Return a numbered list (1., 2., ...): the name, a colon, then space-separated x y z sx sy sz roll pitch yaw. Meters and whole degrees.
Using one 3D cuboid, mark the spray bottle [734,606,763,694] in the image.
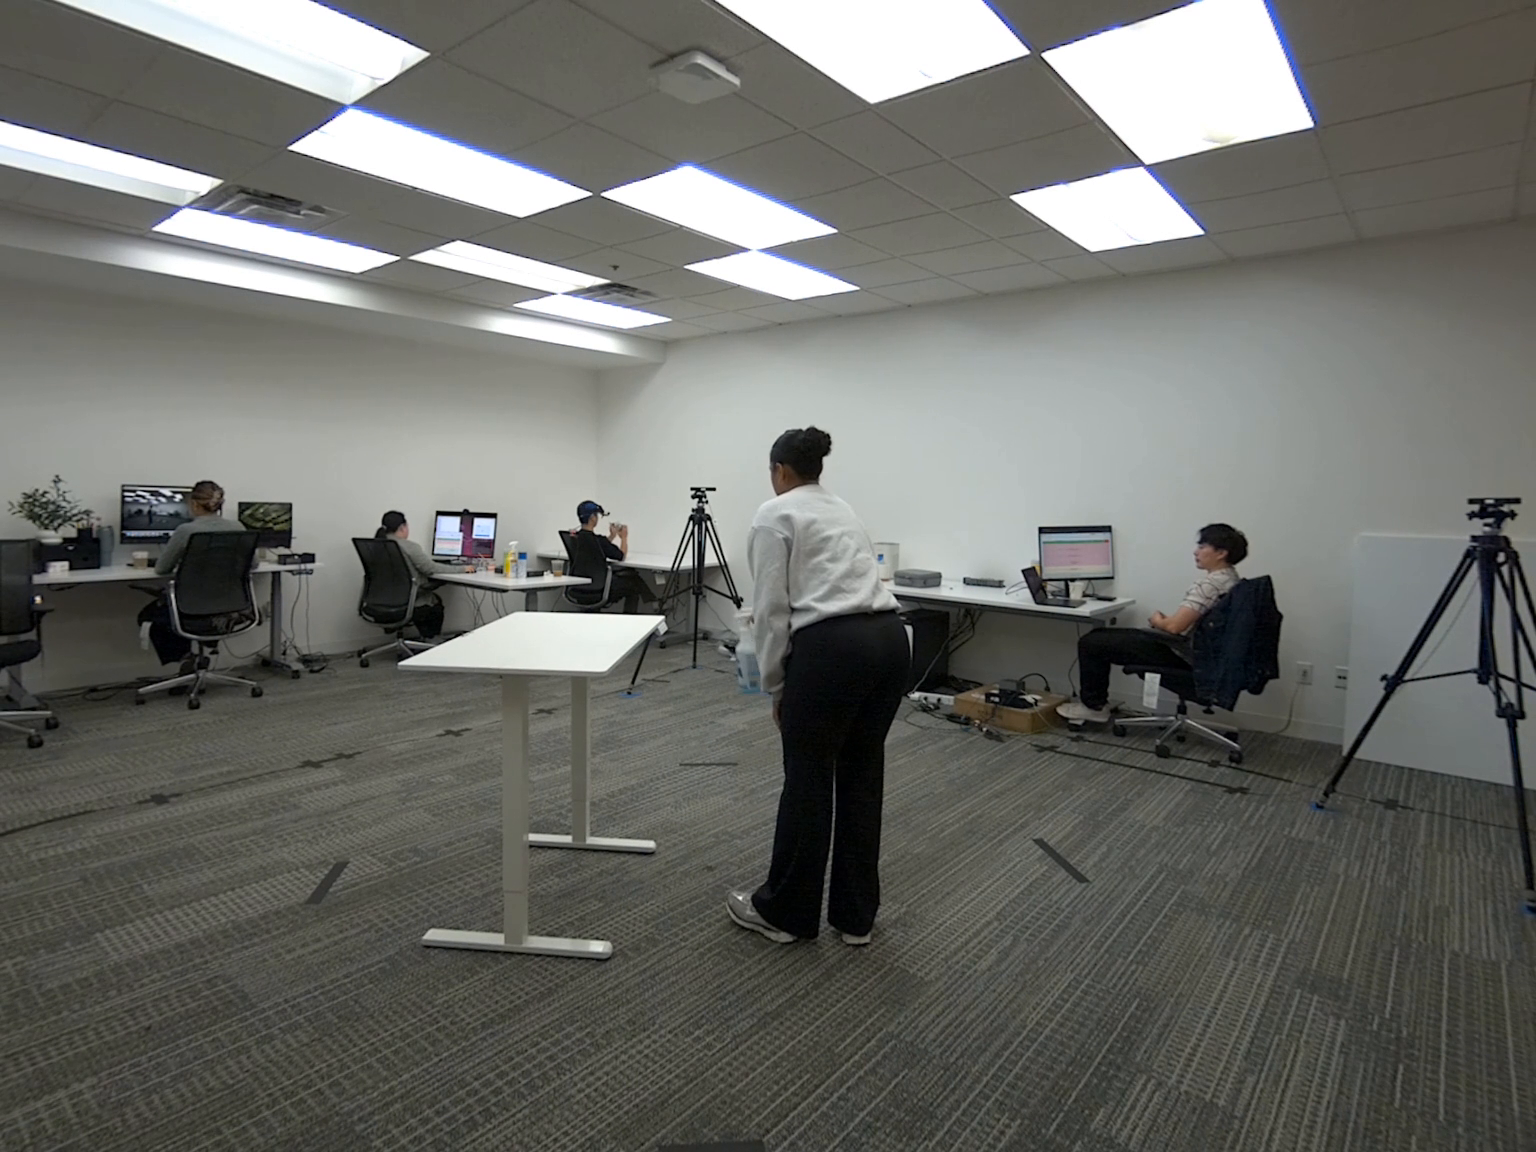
1. spray bottle: -0.079 0.265 3.002 0.085 0.296 0.093 -11 7 -42
